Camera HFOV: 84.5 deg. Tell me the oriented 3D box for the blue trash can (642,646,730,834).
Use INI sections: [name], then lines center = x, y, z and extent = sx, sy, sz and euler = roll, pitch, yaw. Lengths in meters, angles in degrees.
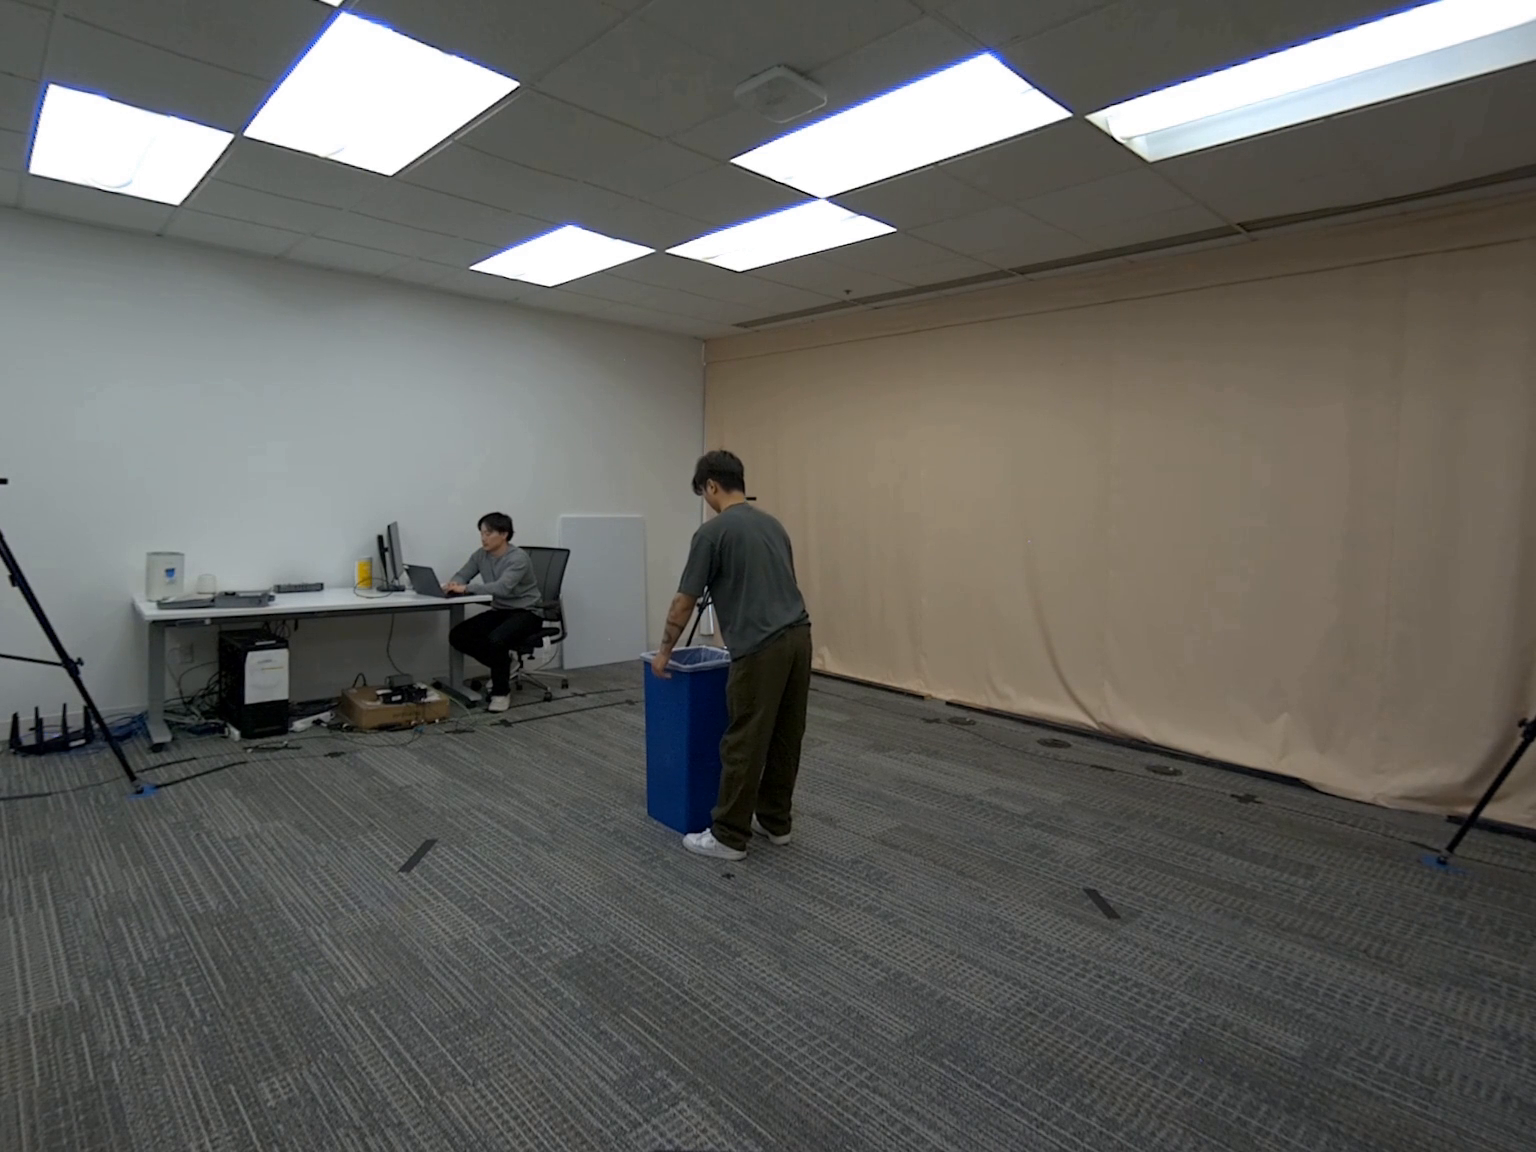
[blue trash can]
center = -0.328, 0.696, 3.649
extent = 0.365, 0.712, 0.387
euler = -1, 3, -41
